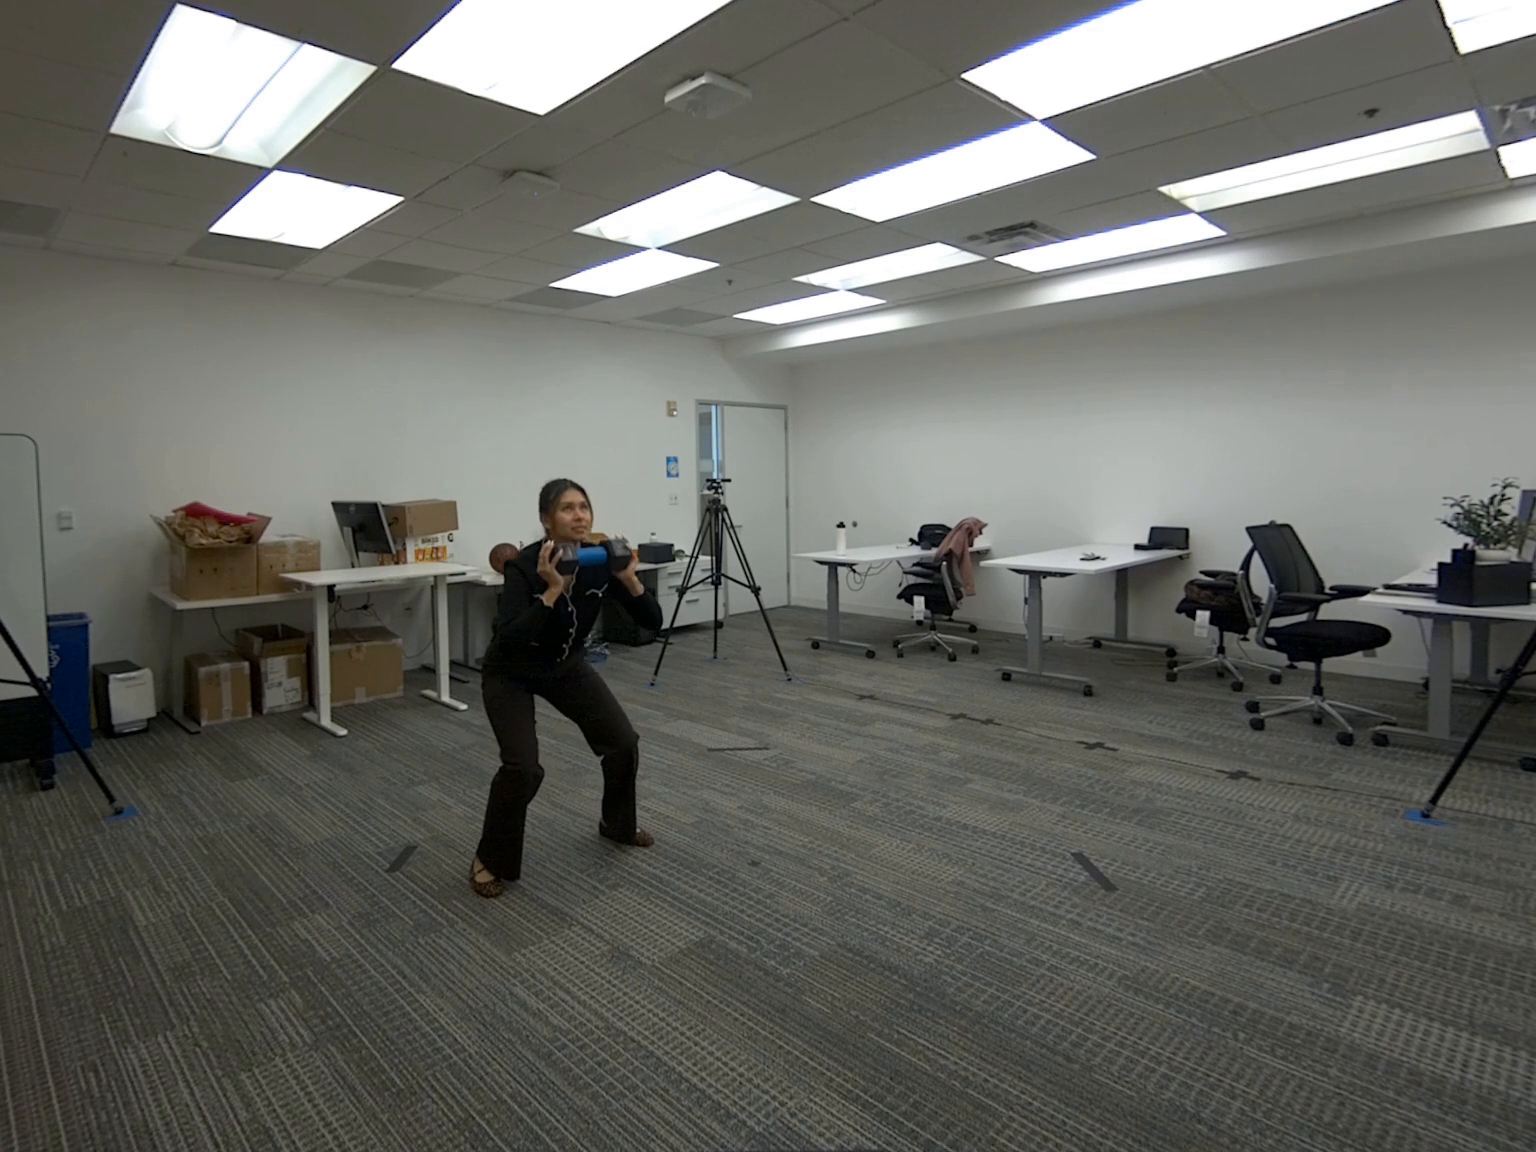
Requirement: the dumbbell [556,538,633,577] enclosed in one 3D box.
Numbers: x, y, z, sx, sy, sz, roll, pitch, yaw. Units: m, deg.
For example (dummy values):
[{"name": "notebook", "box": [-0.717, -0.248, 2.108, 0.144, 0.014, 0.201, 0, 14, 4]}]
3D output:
[{"name": "dumbbell", "box": [-0.624, -0.064, 2.892, 0.286, 0.126, 0.109, -6, -27, -40]}]
